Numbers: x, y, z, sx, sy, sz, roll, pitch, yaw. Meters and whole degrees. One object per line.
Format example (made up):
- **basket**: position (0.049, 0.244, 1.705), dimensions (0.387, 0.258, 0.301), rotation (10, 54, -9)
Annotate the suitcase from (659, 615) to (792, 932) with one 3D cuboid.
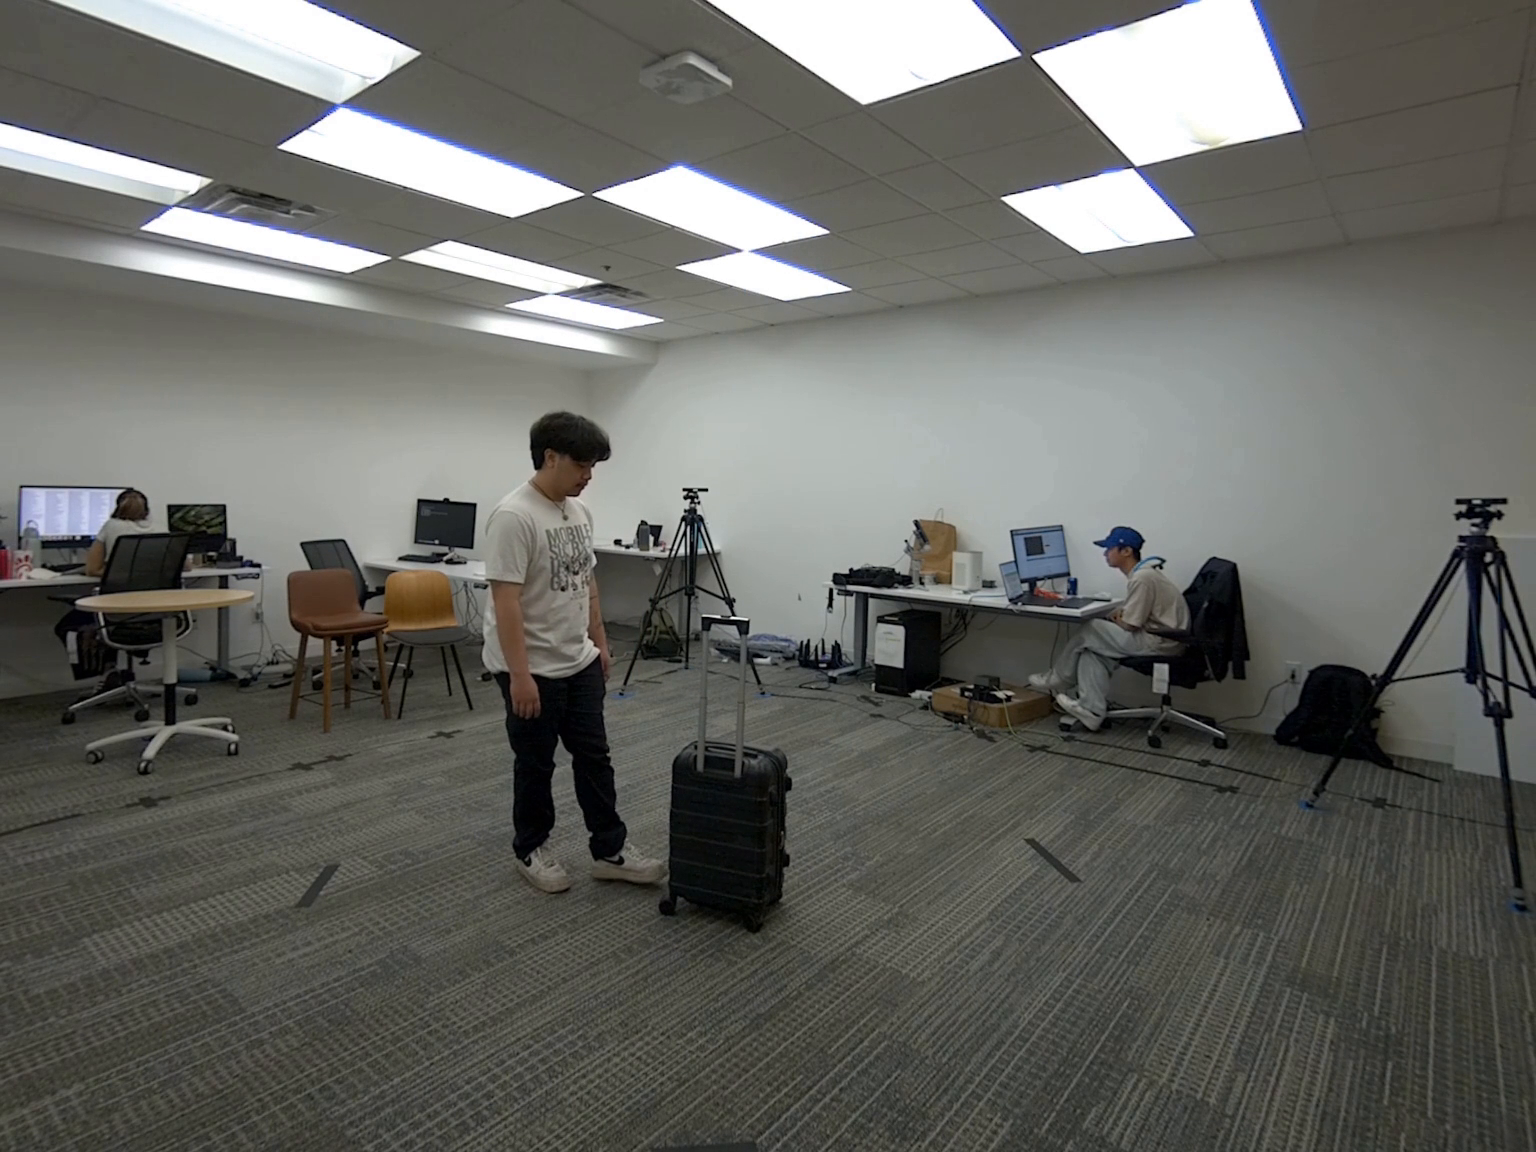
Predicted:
- **suitcase**: position (-0.128, 0.626, 2.806), dimensions (0.393, 0.978, 0.251), rotation (4, 0, 21)
